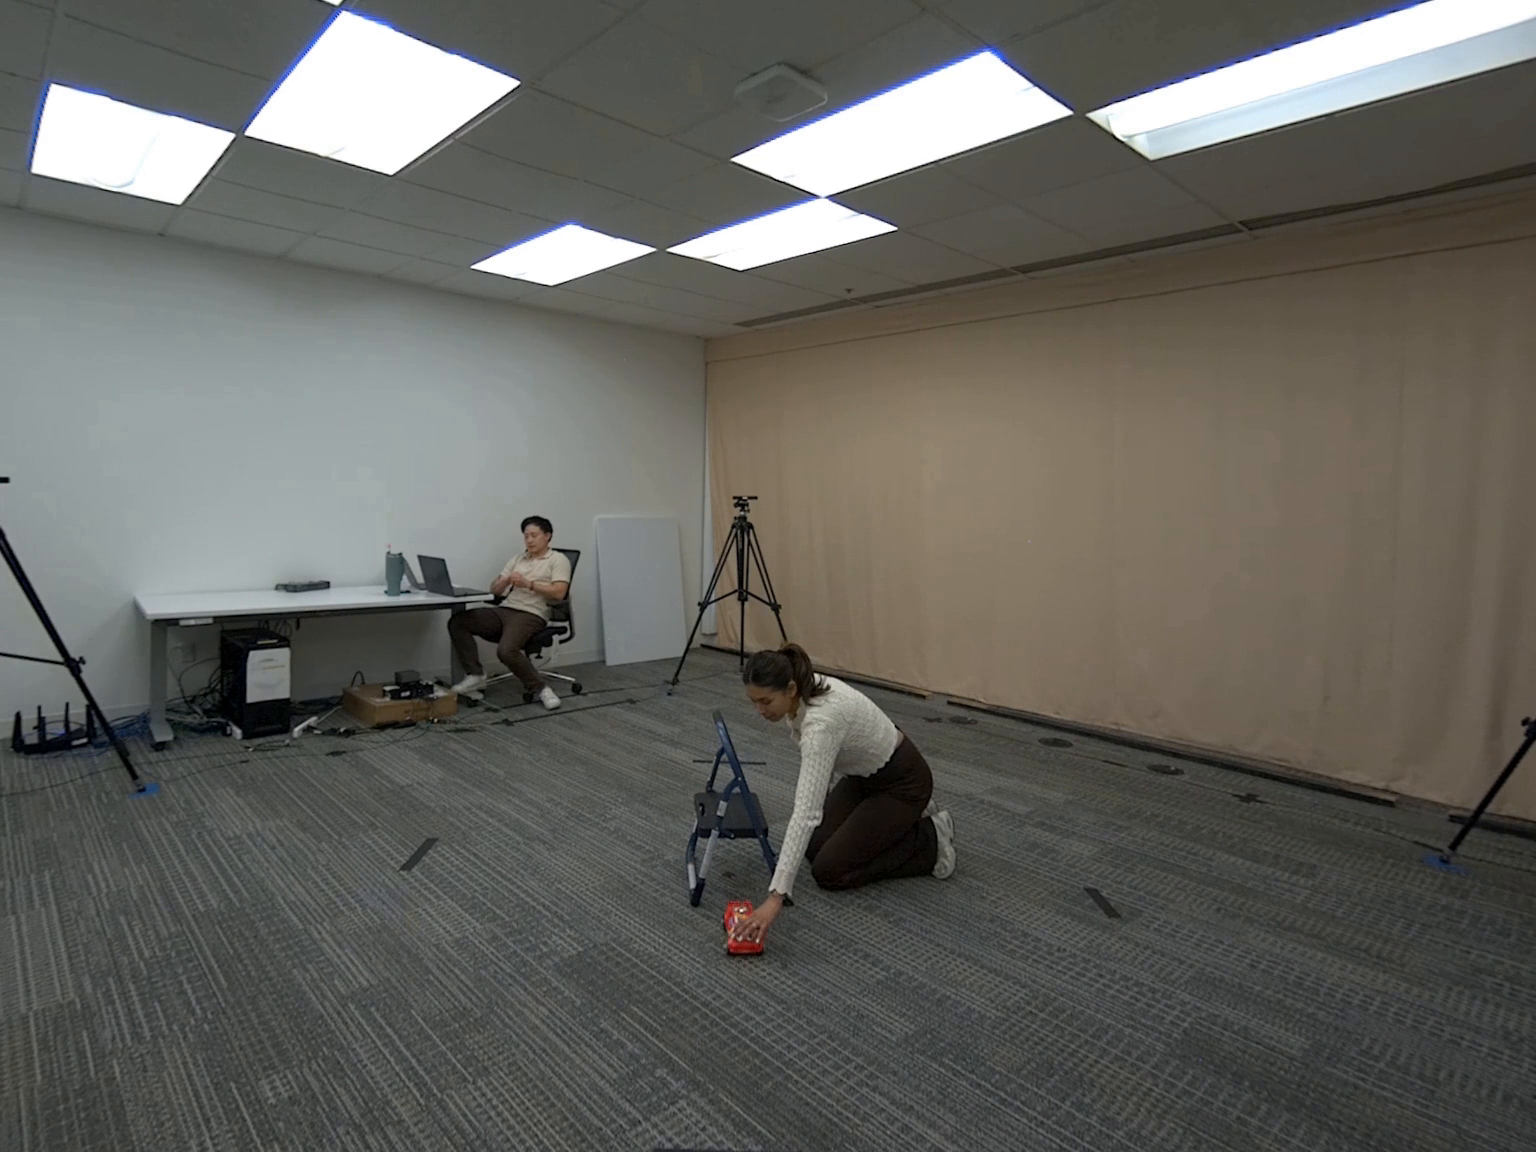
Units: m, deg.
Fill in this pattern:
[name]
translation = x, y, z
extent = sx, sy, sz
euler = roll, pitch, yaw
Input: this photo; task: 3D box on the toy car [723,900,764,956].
[toy car]
translation = -0.091, 1.114, 2.666
extent = 0.130, 0.082, 0.258
euler = 1, 18, -2
